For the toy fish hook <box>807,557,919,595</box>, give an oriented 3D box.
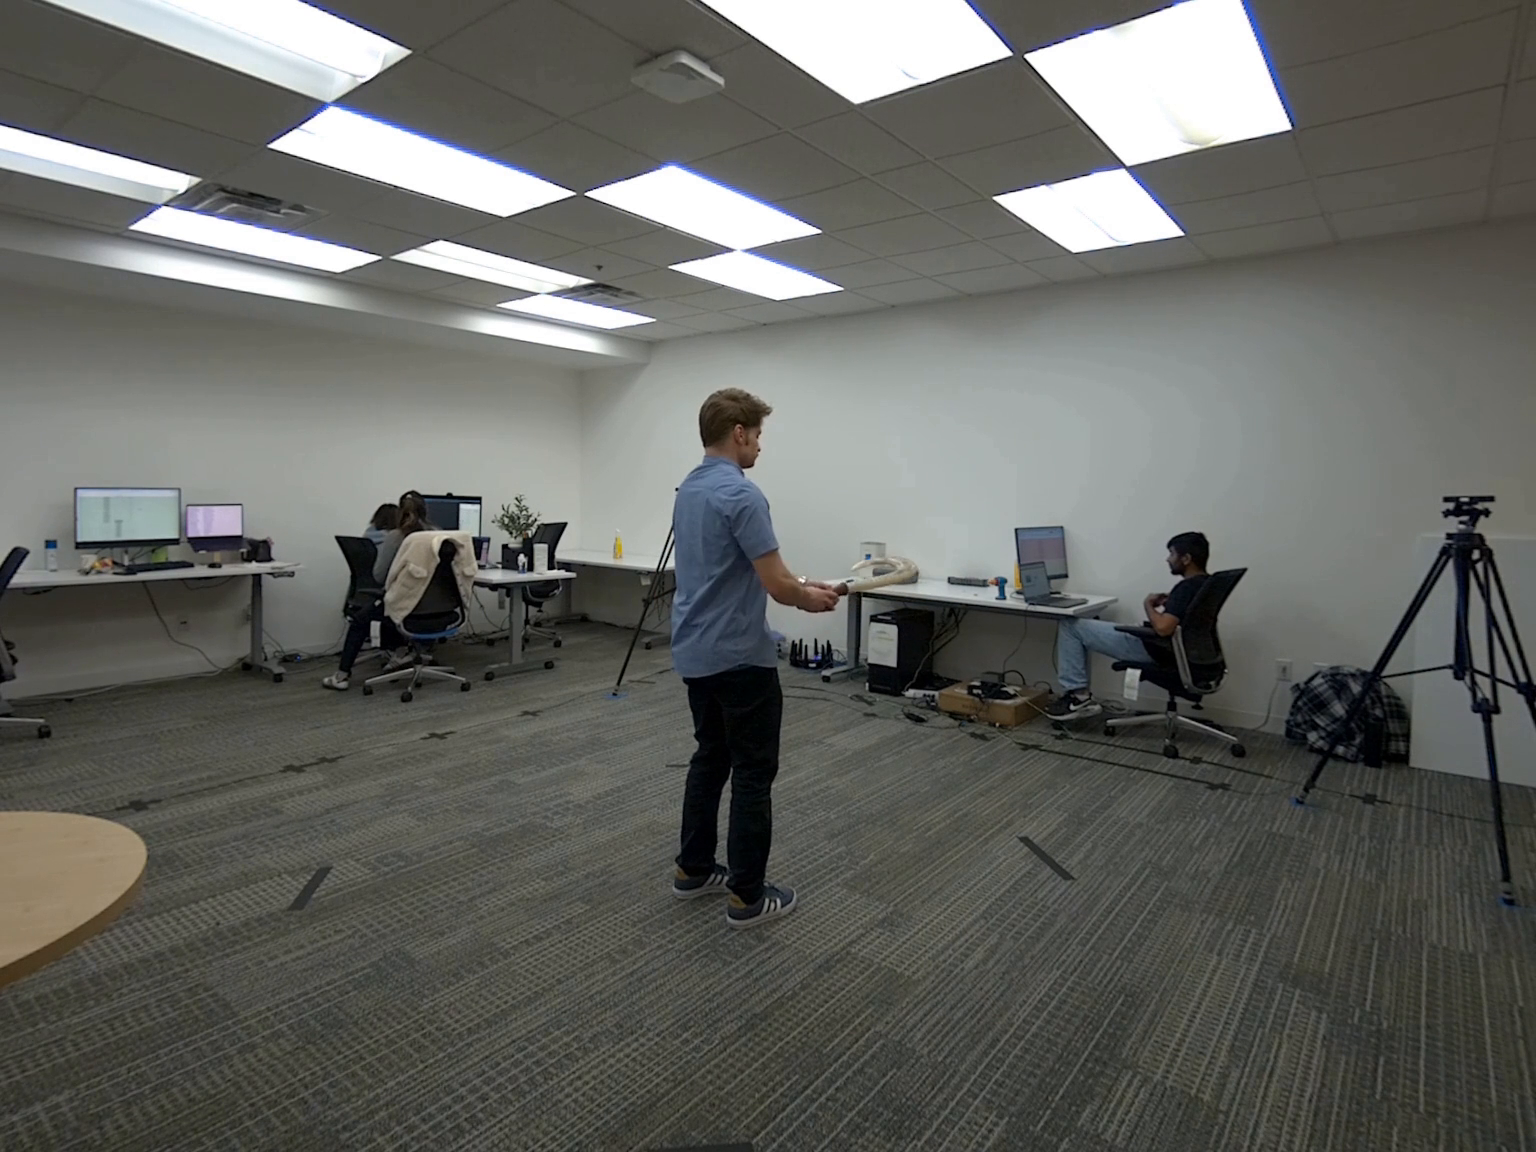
[{"bbox_3d":[0.273,0.023,3.015,0.499,0.047,0.232,-17,21,-21],"label":"toy fish hook"}]
